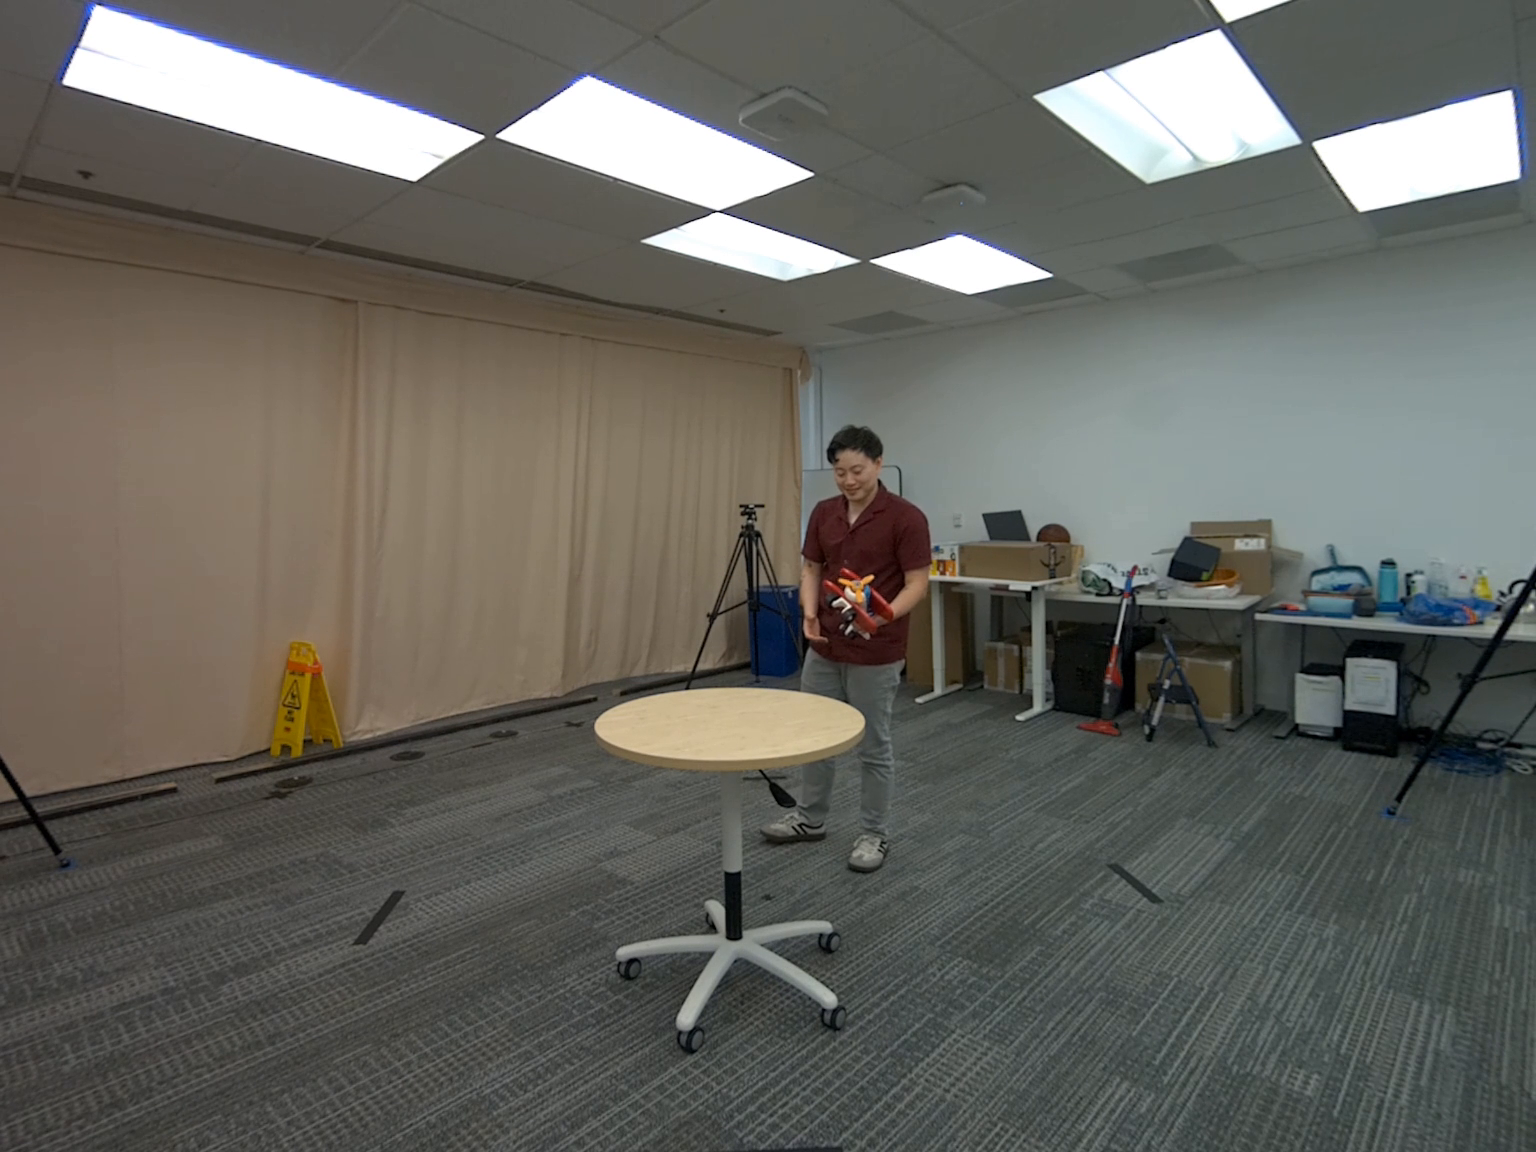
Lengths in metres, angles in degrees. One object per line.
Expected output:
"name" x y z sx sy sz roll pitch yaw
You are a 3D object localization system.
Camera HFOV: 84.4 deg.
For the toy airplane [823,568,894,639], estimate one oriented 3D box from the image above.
"toy airplane" 0.285 0.102 2.891 0.156 0.253 0.257 -41 -7 -6
